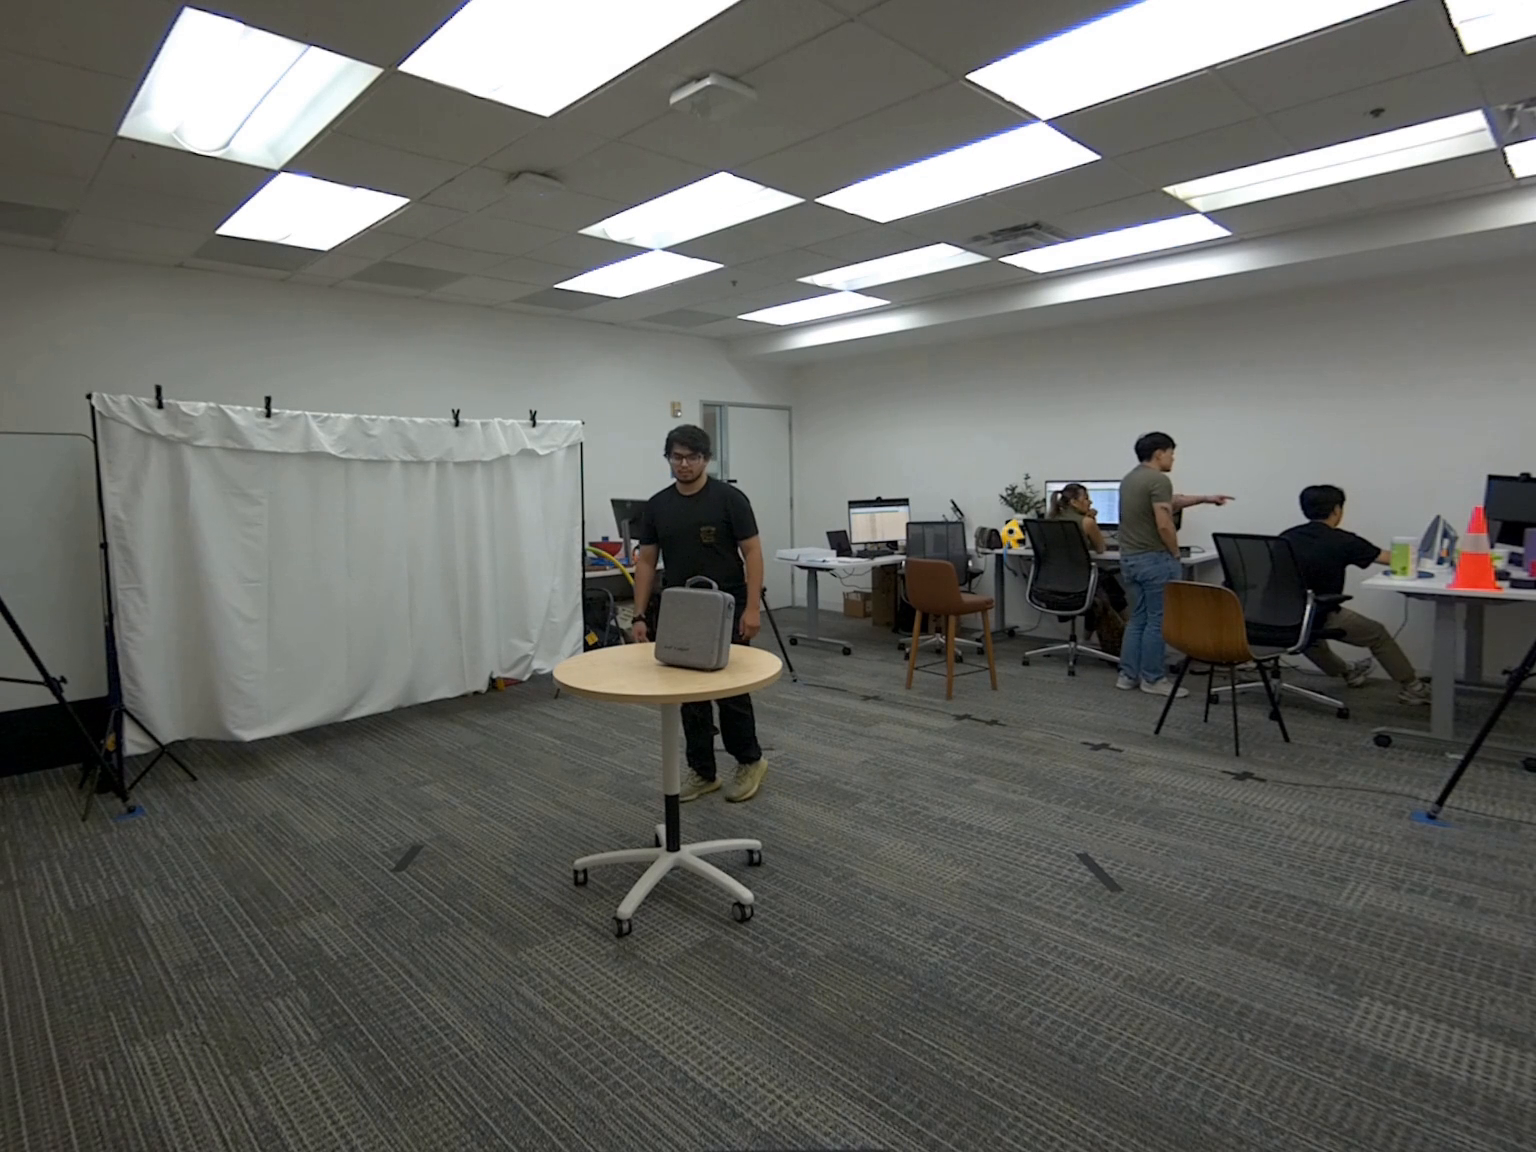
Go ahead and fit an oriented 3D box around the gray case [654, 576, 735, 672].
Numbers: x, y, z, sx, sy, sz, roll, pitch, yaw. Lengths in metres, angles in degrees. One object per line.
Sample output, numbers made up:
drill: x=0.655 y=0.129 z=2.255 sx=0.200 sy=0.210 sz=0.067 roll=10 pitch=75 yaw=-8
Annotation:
gray case: x=-0.244 y=0.171 z=2.848 sx=0.264 sy=0.262 sz=0.101 roll=3 pitch=-7 yaw=33
